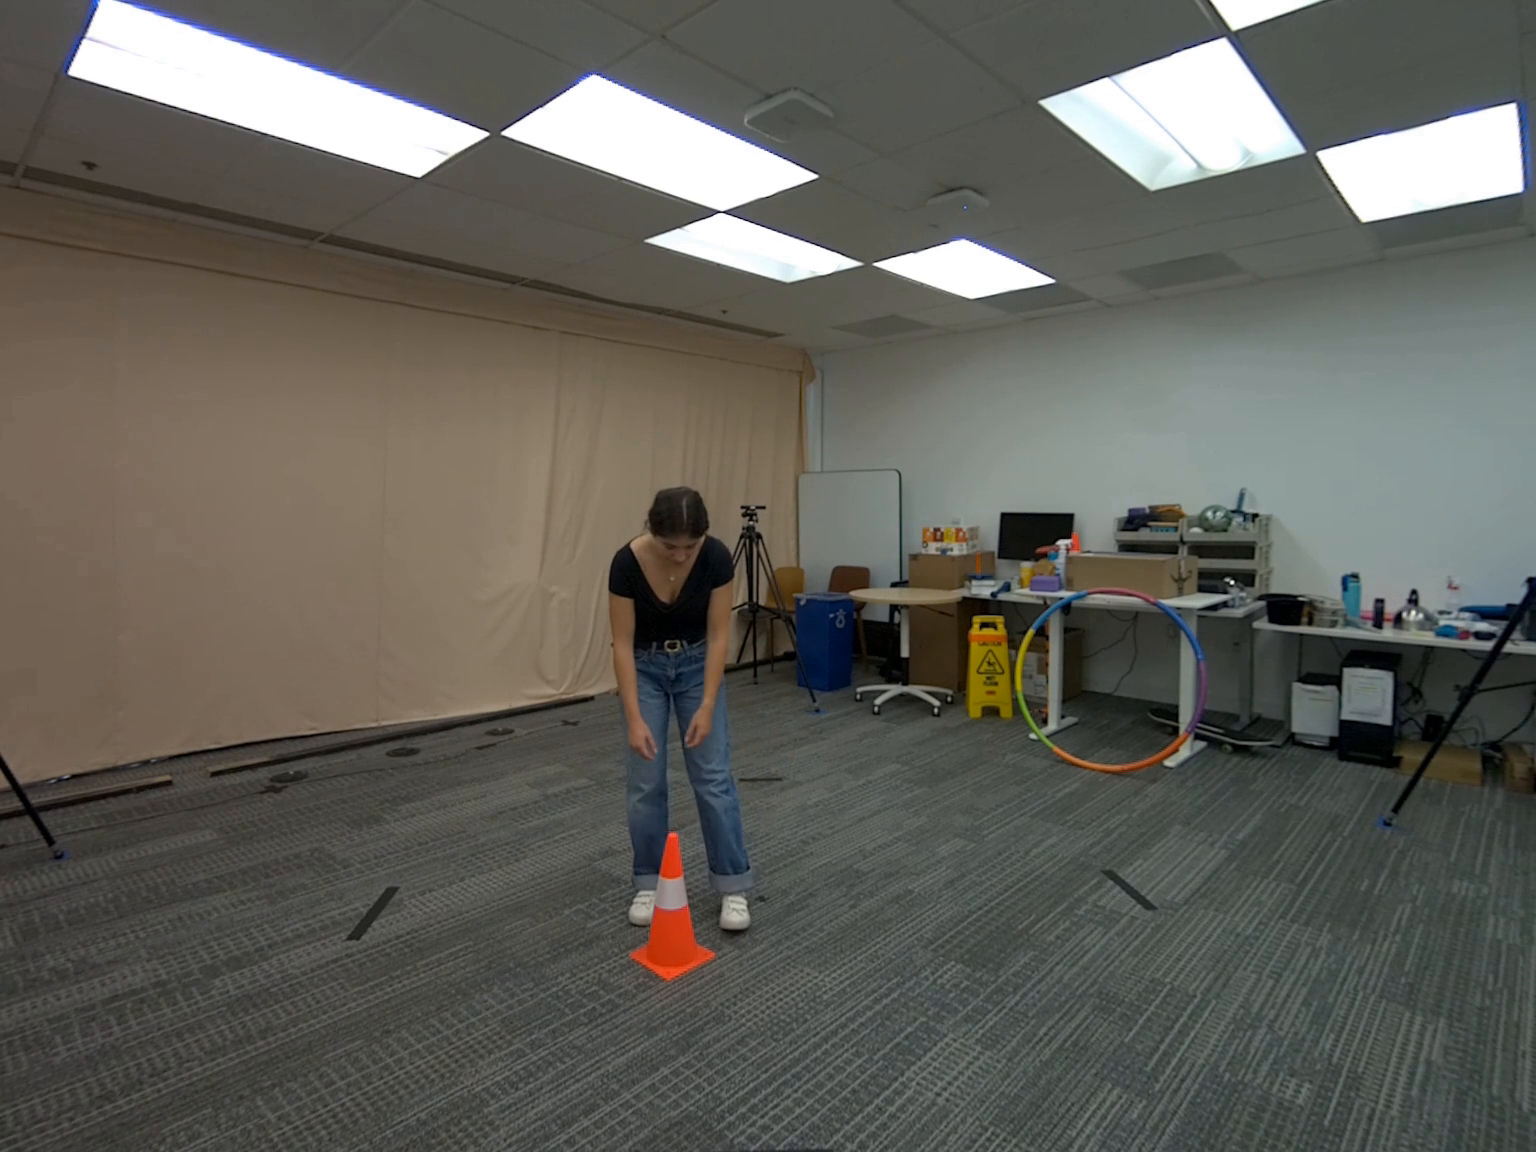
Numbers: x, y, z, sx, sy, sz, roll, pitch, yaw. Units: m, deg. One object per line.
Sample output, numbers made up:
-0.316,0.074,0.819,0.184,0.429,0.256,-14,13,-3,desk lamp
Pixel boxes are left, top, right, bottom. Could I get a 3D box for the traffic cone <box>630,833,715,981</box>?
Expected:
-0.287,0.989,2.604,0.199,0.383,0.210,-4,5,-43,traffic cone
